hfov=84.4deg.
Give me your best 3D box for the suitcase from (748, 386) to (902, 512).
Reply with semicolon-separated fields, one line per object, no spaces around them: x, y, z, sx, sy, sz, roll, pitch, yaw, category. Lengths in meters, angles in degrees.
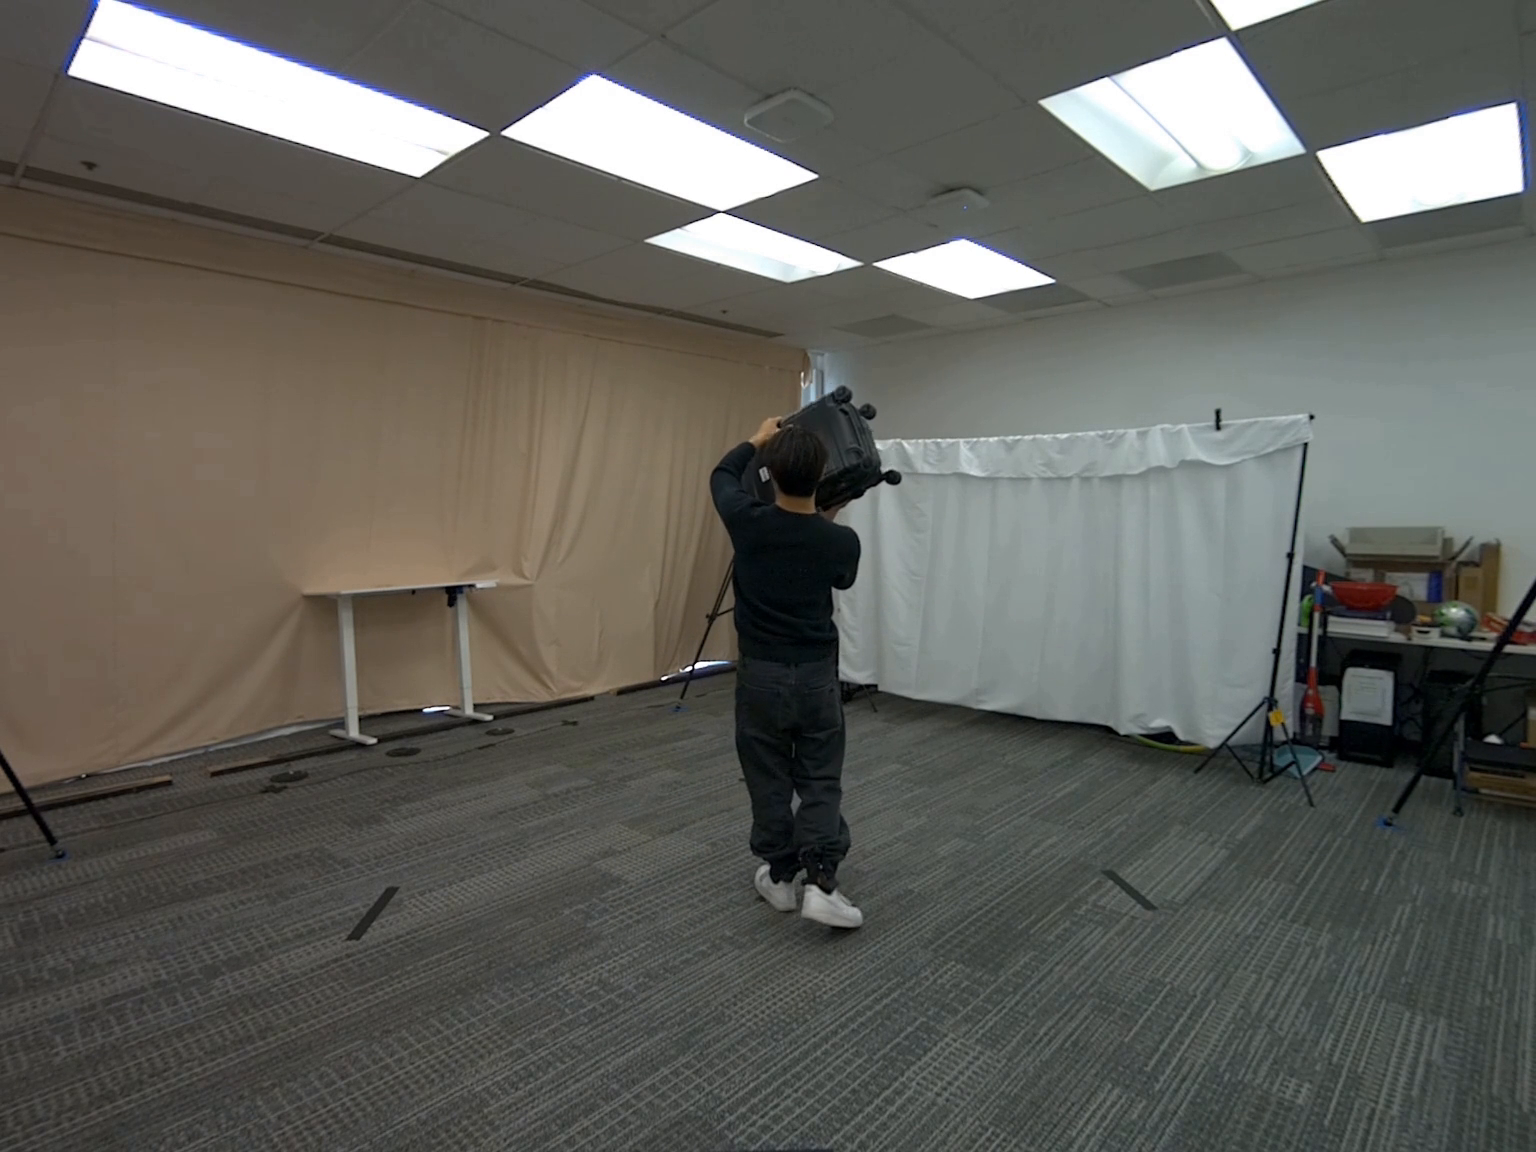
0.168;-0.425;3.160;0.559;0.382;0.240;-26;-23;28;suitcase
